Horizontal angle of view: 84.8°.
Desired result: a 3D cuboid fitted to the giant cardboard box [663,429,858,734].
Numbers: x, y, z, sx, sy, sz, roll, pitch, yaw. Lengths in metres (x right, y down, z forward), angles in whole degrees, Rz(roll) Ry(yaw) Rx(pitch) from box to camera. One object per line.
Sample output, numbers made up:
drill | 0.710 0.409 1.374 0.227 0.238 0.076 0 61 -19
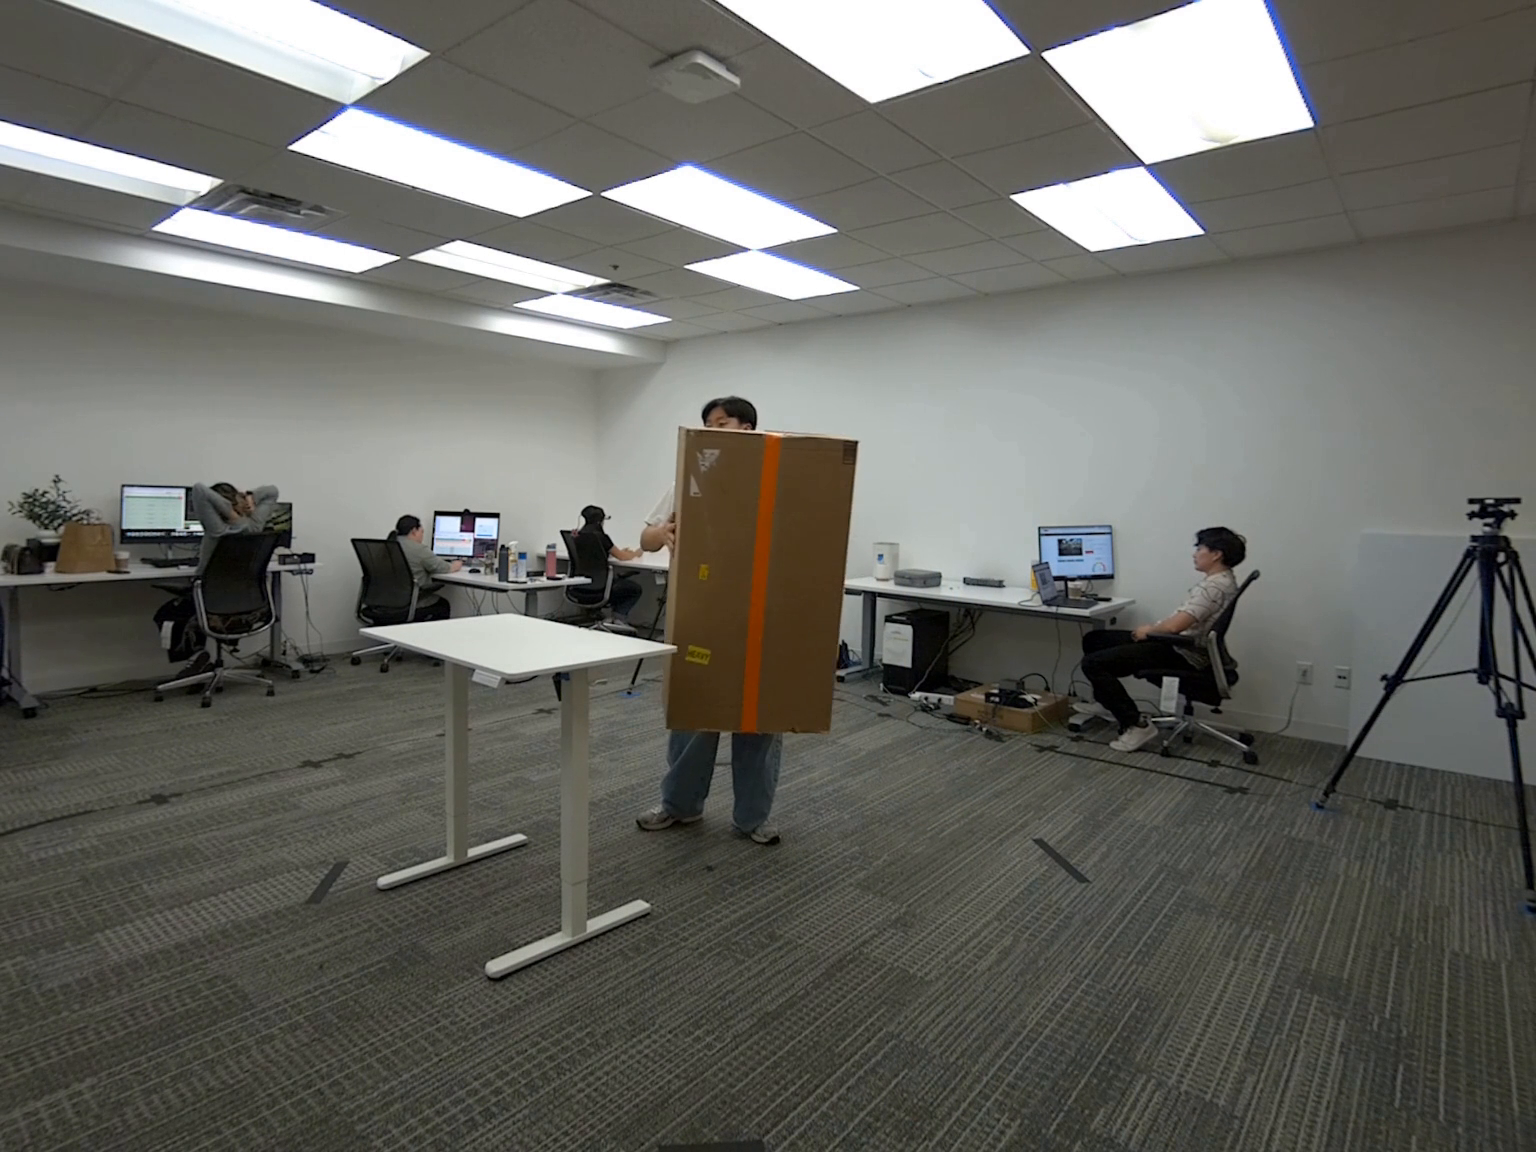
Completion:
giant cardboard box | -0.068 -0.014 3.061 0.573 1.018 0.433 3 8 -8
